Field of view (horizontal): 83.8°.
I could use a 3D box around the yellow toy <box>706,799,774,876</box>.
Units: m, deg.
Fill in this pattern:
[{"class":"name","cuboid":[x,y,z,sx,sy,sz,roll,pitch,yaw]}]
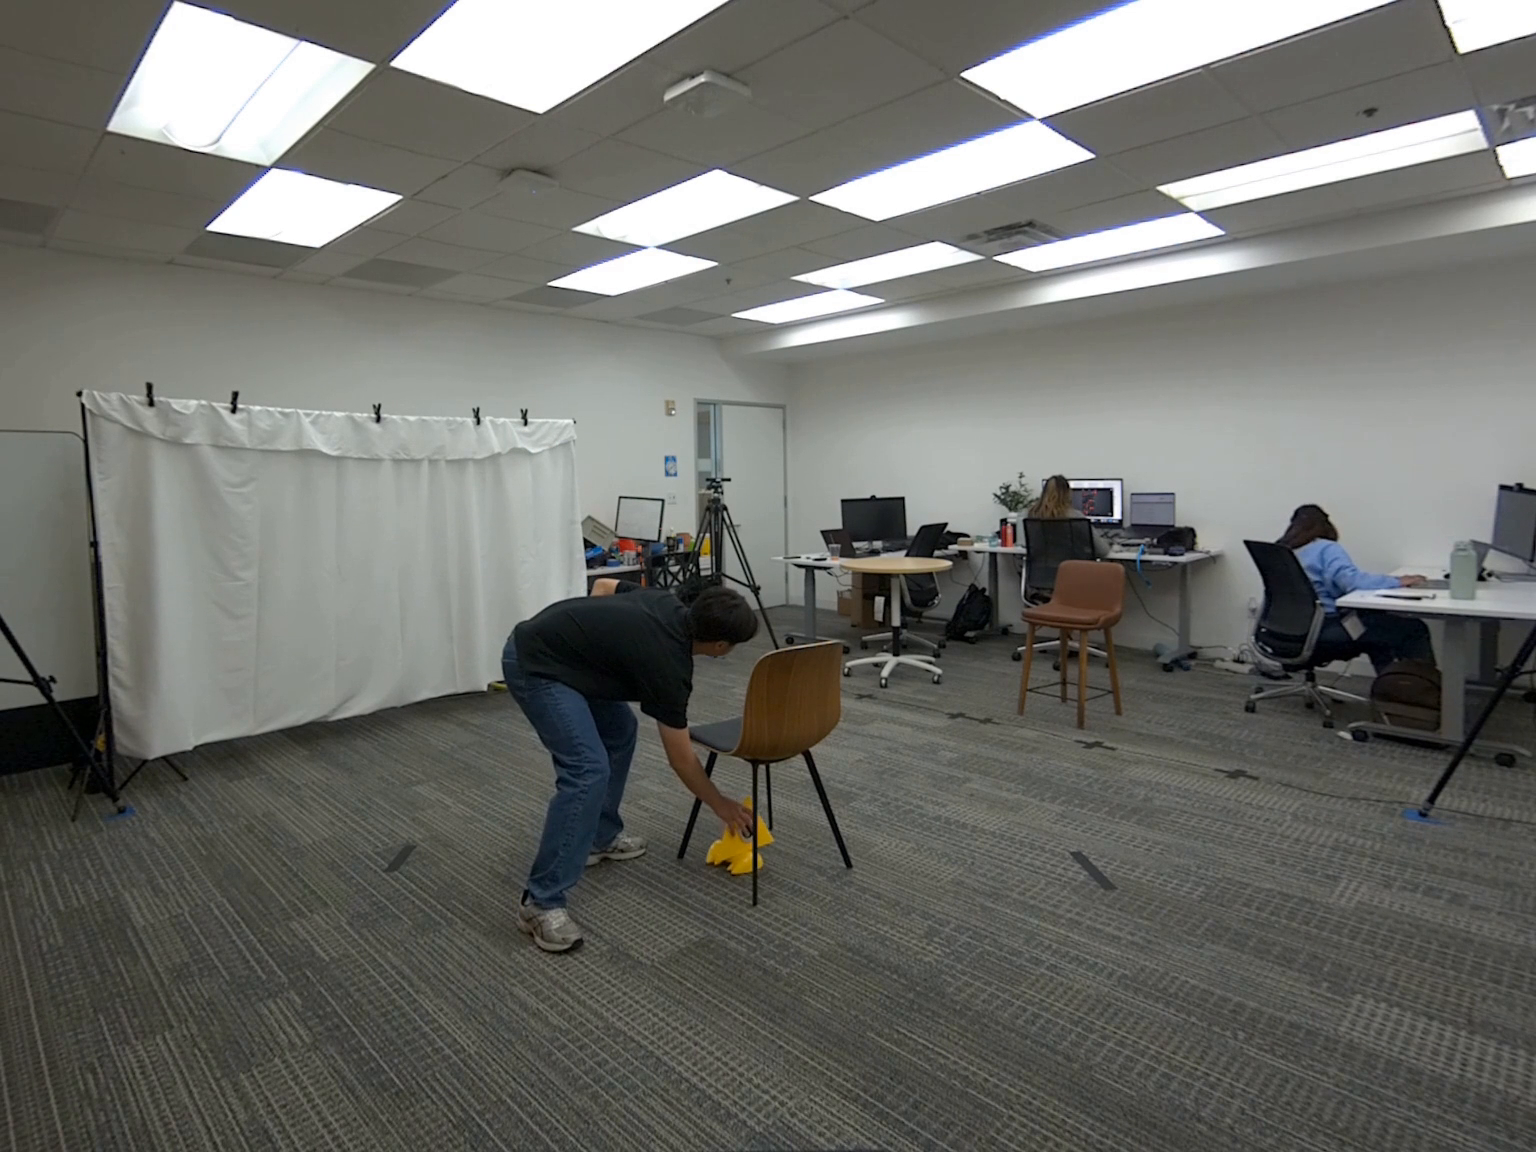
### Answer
[{"class":"yellow toy","cuboid":[-0.113,0.926,3.111,0.211,0.230,0.187,3,3,43]}]
